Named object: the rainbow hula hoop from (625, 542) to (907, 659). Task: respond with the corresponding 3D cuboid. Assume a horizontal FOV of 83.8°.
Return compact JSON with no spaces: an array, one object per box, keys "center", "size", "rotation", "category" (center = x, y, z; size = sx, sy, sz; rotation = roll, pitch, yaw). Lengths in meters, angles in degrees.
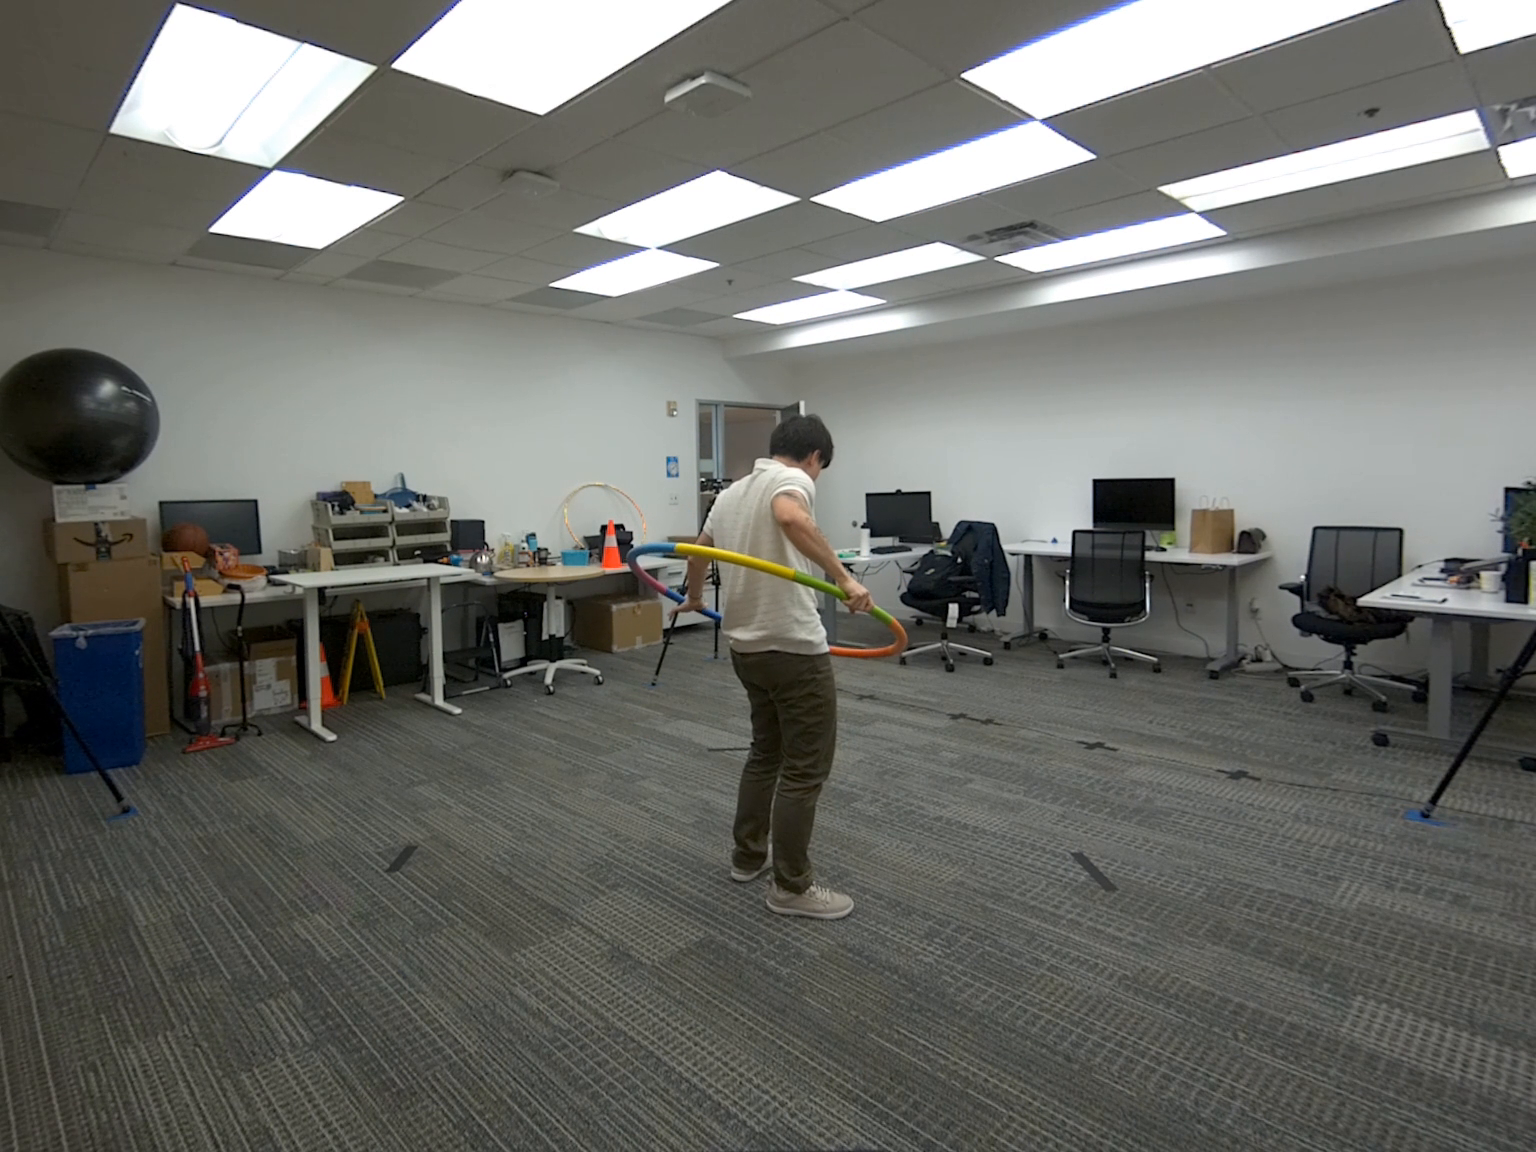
[{"center":[-0.007,0.089,2.914],"size":[0.985,0.036,0.965],"rotation":[19,-16,4],"category":"rainbow hula hoop"}]
